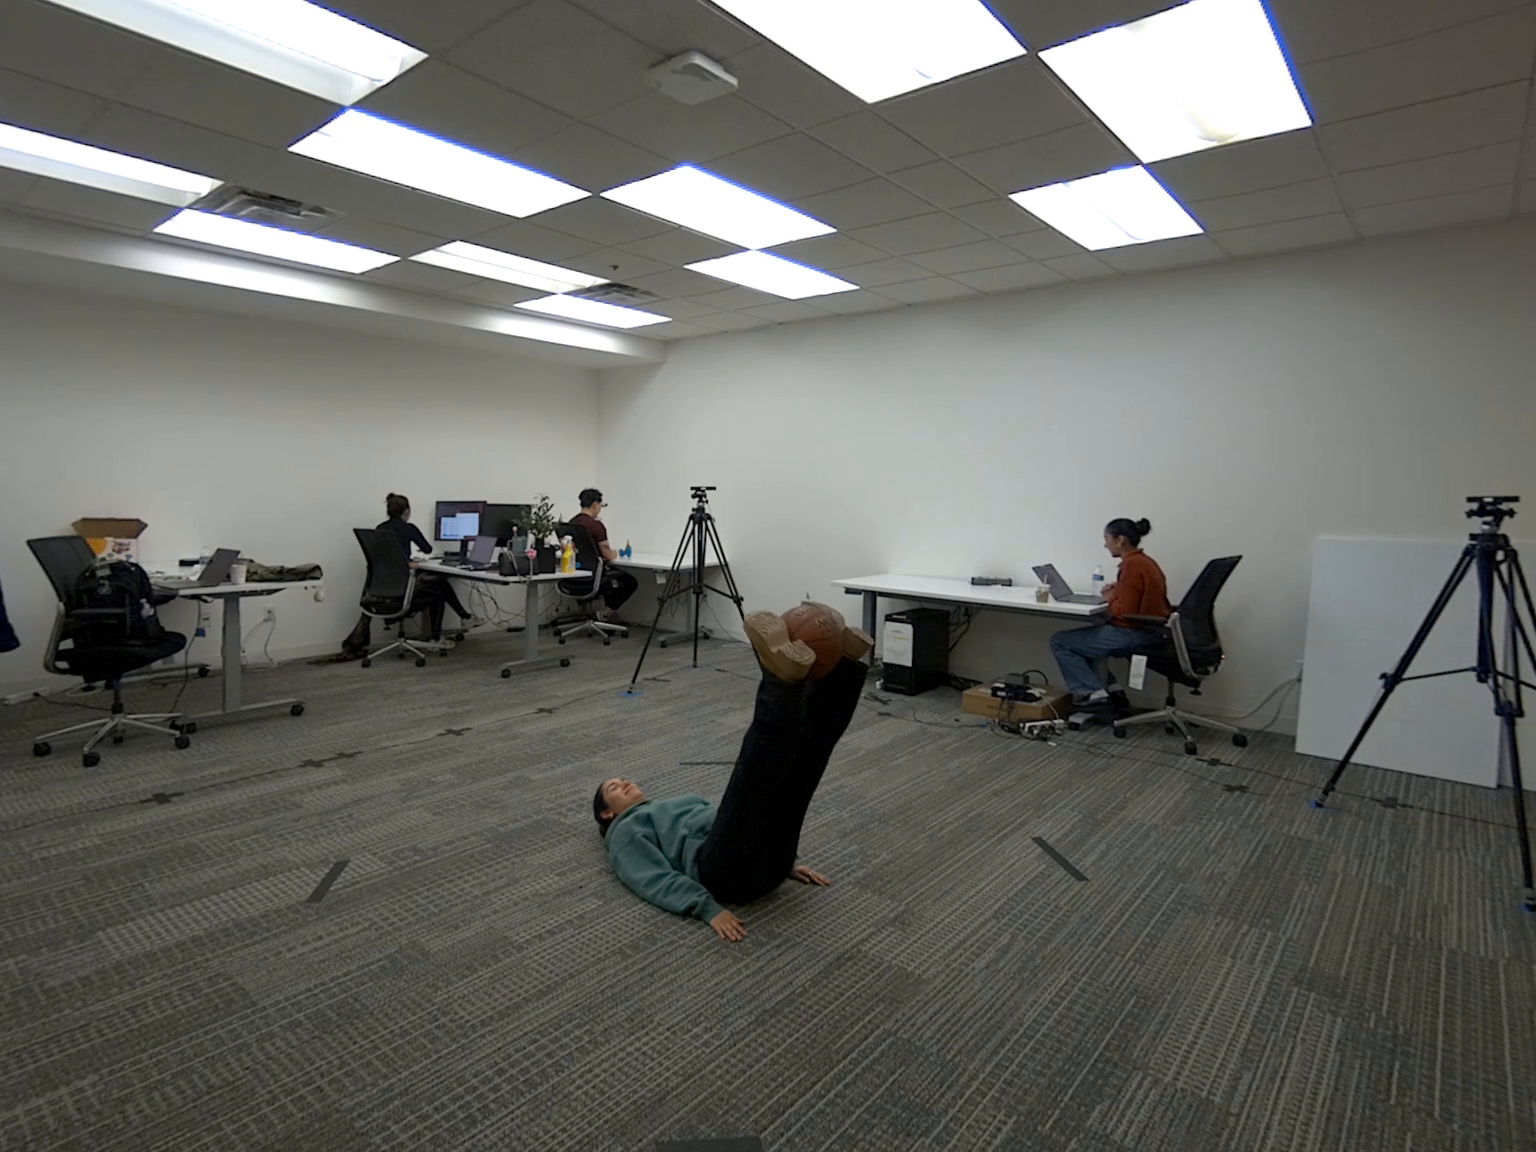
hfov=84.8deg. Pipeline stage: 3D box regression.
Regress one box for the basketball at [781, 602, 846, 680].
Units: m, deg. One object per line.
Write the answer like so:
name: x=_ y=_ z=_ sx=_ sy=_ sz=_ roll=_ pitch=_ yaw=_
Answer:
basketball: x=0.124 y=0.217 z=2.717 sx=0.236 sy=0.235 sz=0.237 roll=0 pitch=4 yaw=-2
